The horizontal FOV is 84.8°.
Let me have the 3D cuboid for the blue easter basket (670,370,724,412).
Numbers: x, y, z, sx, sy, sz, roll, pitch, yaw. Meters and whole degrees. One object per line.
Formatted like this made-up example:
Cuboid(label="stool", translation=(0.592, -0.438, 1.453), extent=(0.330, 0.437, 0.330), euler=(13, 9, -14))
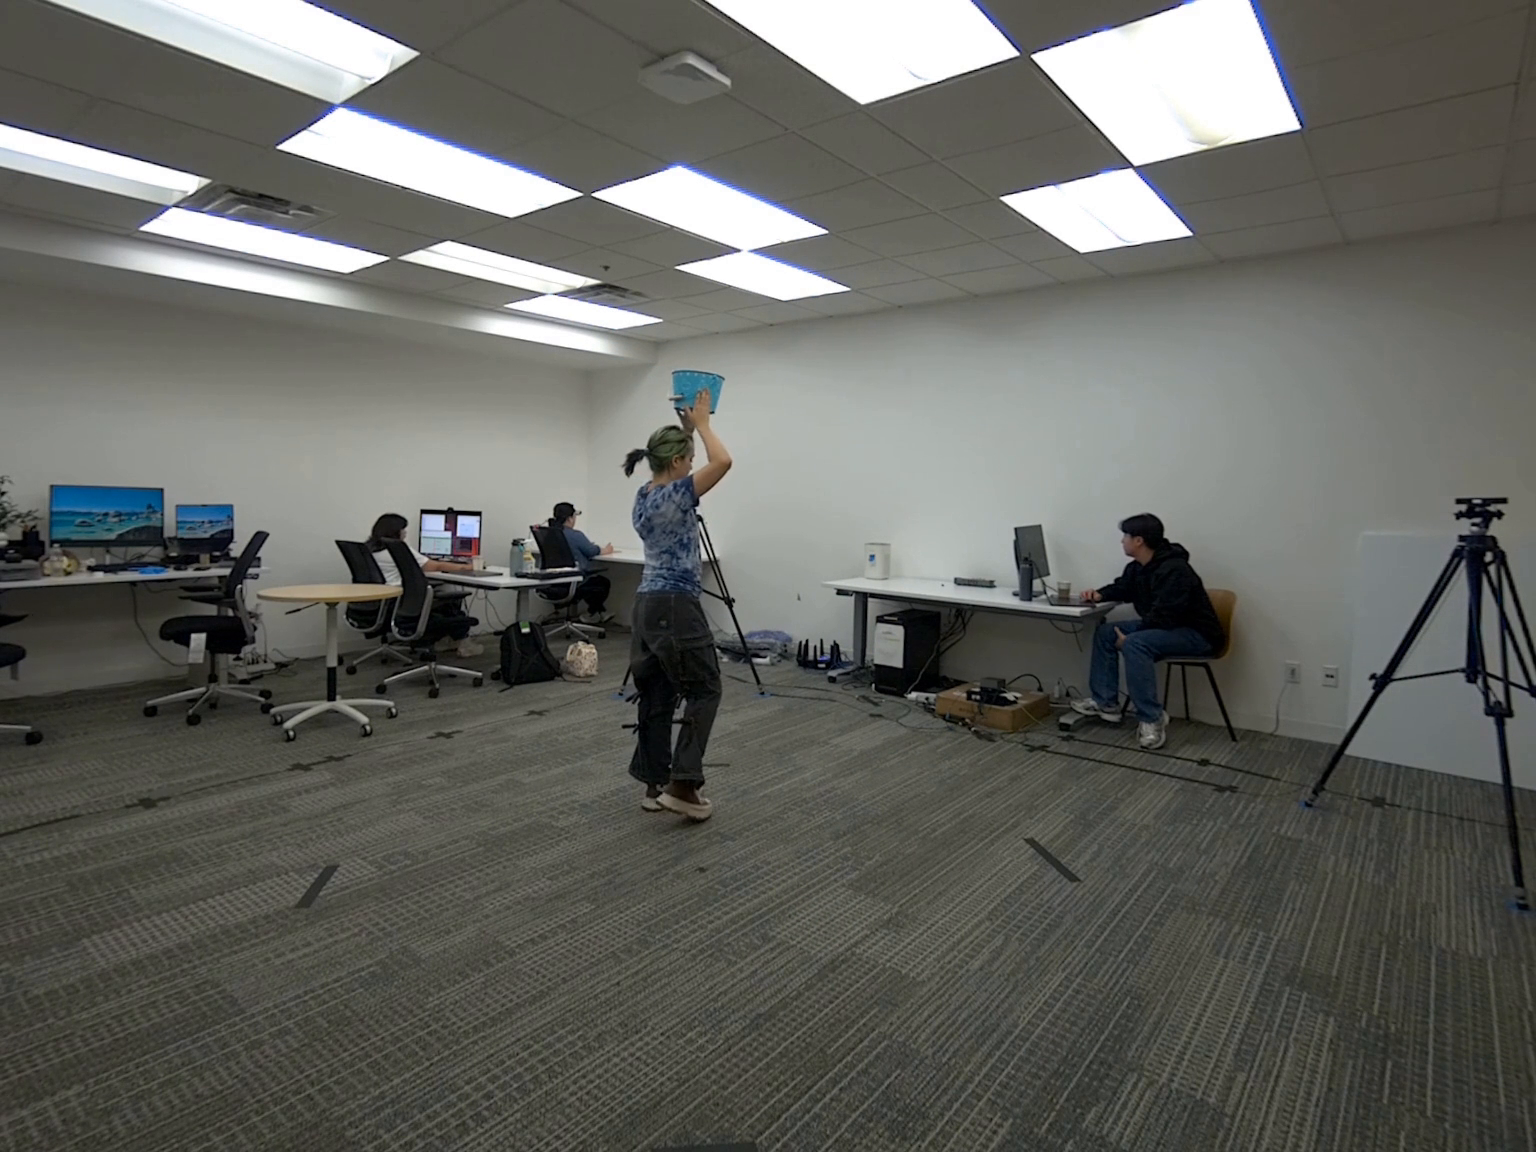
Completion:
Cuboid(label="blue easter basket", translation=(-0.327, -0.800, 3.685), extent=(0.243, 0.156, 0.244), euler=(7, 2, -2))
